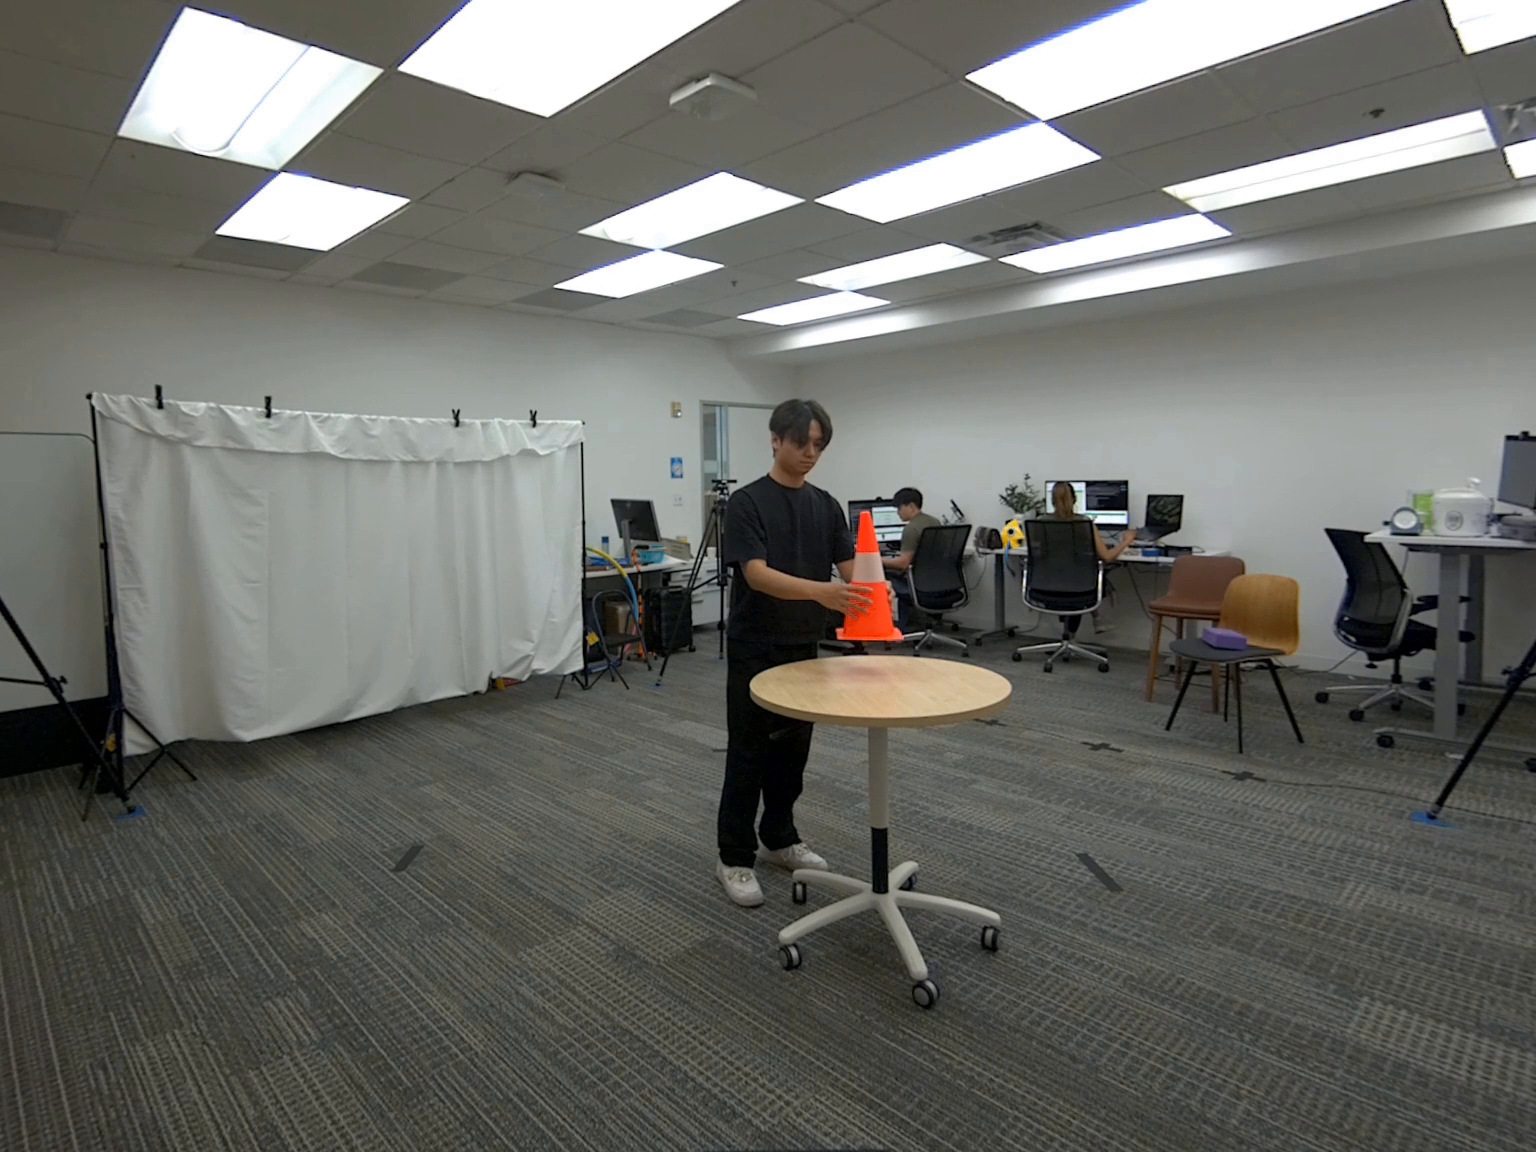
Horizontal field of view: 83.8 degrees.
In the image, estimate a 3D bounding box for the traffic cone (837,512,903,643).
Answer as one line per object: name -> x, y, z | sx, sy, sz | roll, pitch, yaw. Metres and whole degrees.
traffic cone -> 0.321, -0.003, 2.645 | 0.211, 0.381, 0.198 | 5, 10, 43
